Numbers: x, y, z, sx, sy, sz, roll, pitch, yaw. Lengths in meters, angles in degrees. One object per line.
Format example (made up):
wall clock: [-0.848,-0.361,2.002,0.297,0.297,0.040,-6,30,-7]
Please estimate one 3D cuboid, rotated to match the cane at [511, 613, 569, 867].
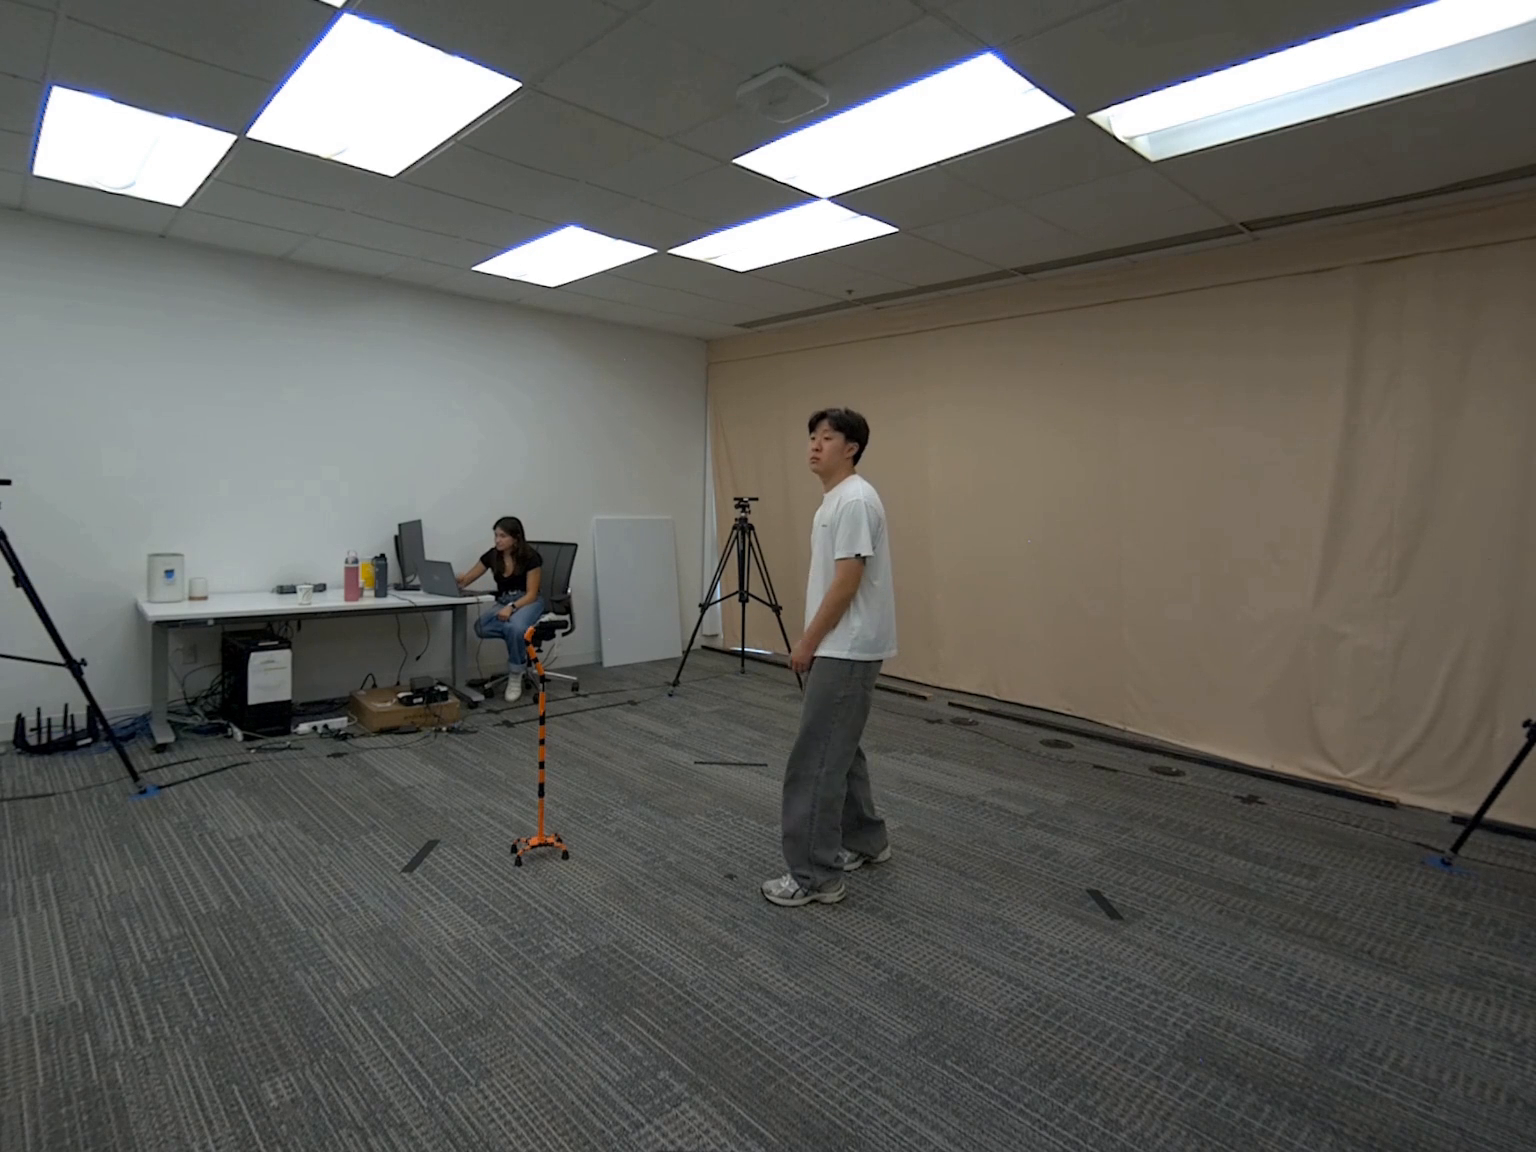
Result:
cane: [-0.877,0.627,3.224,0.203,0.906,0.154,-1,3,-25]
